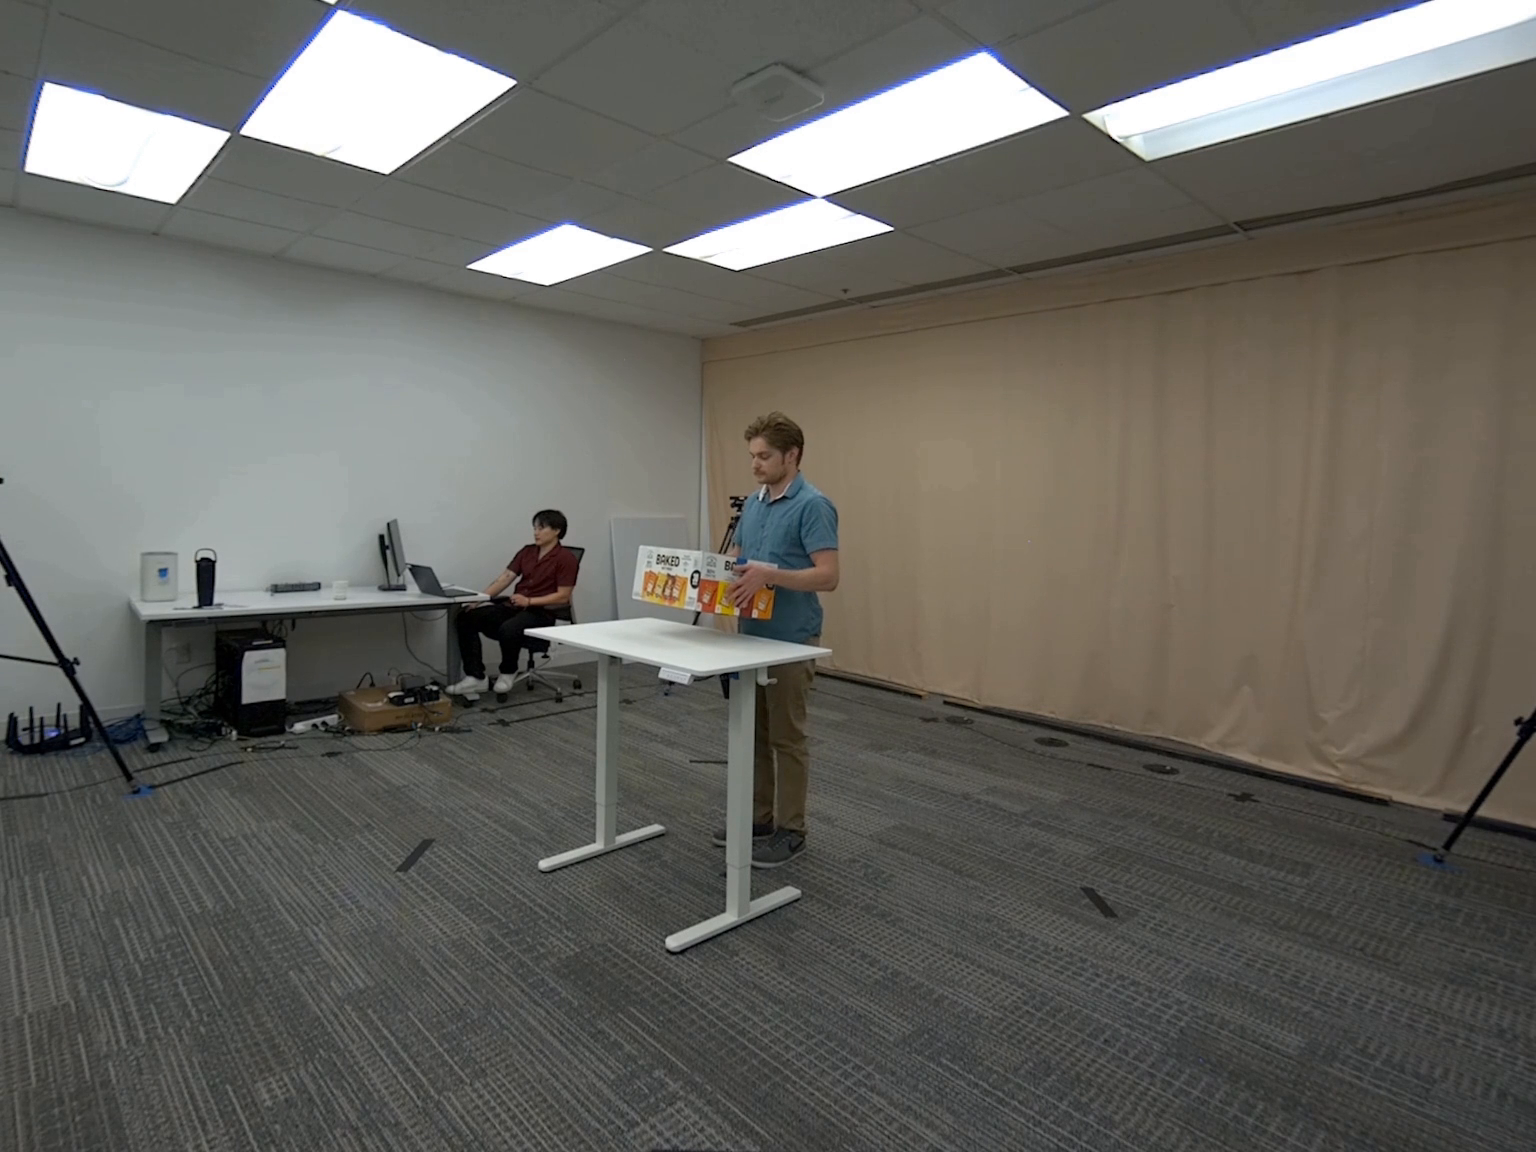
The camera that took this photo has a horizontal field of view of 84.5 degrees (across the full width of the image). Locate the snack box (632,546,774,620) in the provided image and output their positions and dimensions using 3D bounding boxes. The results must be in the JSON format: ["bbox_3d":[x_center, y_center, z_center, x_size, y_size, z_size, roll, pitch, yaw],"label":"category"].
[{"bbox_3d":[-0.240,0.023,3.080,0.331,0.206,0.415,11,-3,-39],"label":"snack box"}]
